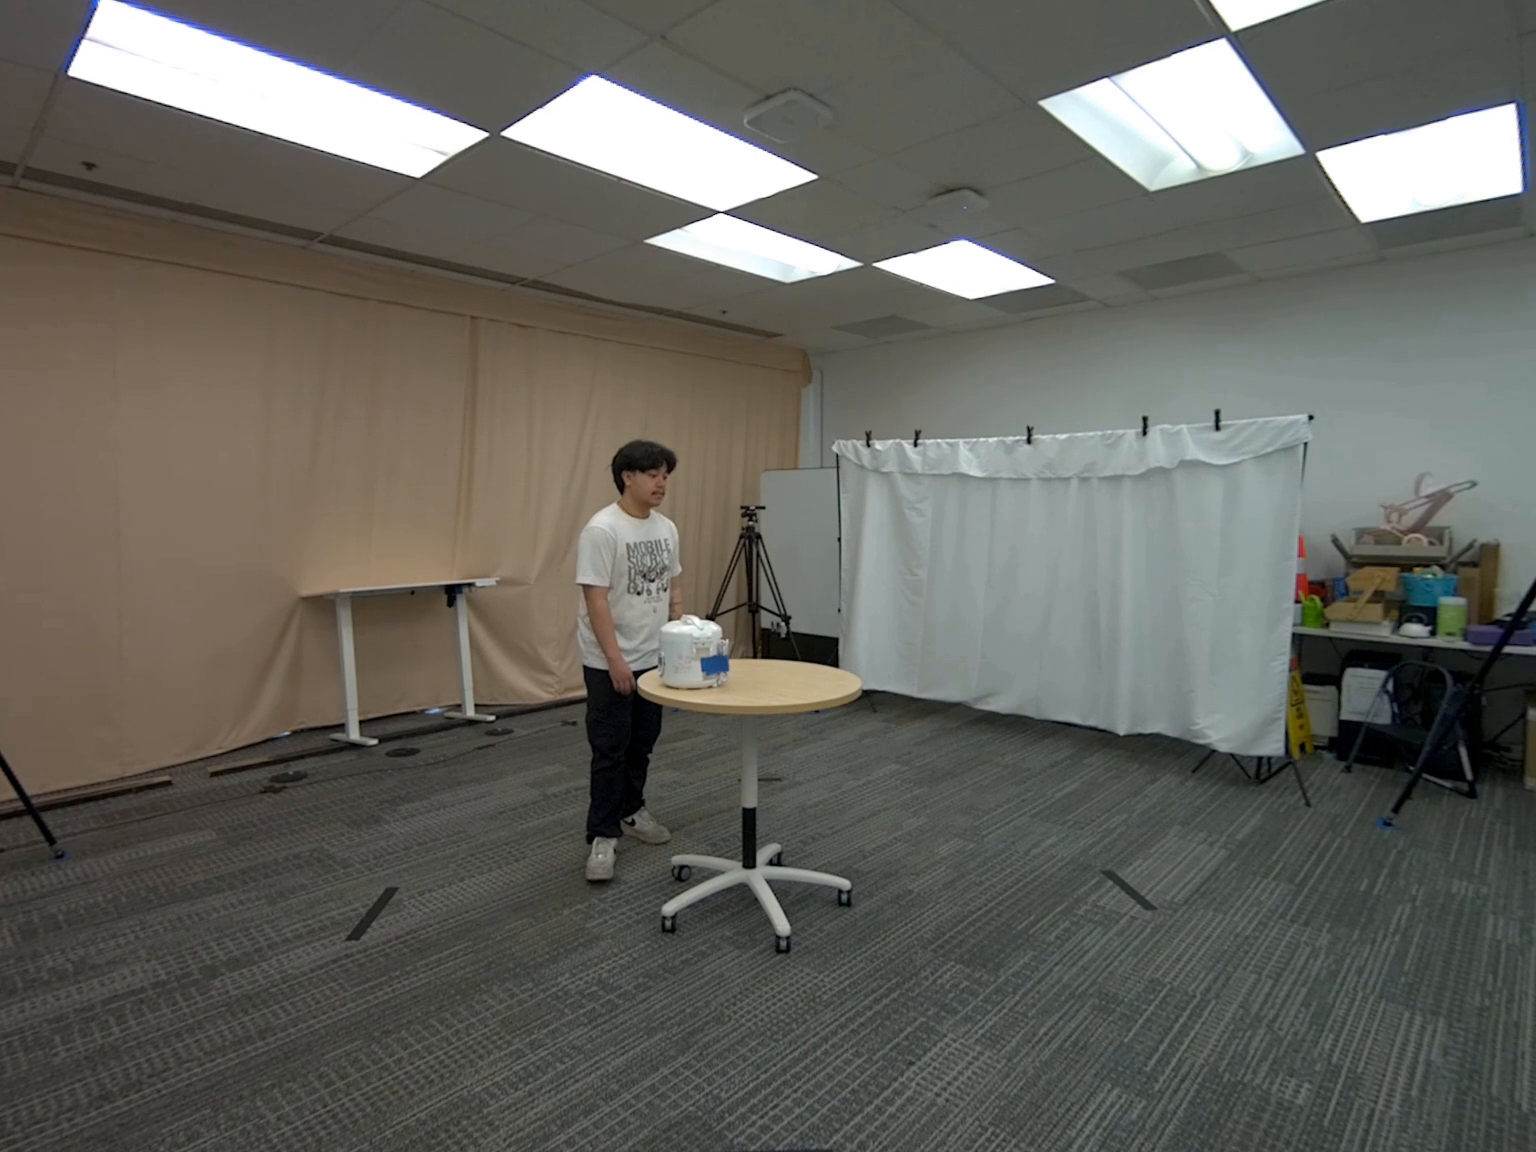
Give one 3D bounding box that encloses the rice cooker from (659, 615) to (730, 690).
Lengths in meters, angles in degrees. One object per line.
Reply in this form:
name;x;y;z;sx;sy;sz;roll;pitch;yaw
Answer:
rice cooker;-0.254;0.248;2.799;0.212;0.232;0.226;0;3;-23
